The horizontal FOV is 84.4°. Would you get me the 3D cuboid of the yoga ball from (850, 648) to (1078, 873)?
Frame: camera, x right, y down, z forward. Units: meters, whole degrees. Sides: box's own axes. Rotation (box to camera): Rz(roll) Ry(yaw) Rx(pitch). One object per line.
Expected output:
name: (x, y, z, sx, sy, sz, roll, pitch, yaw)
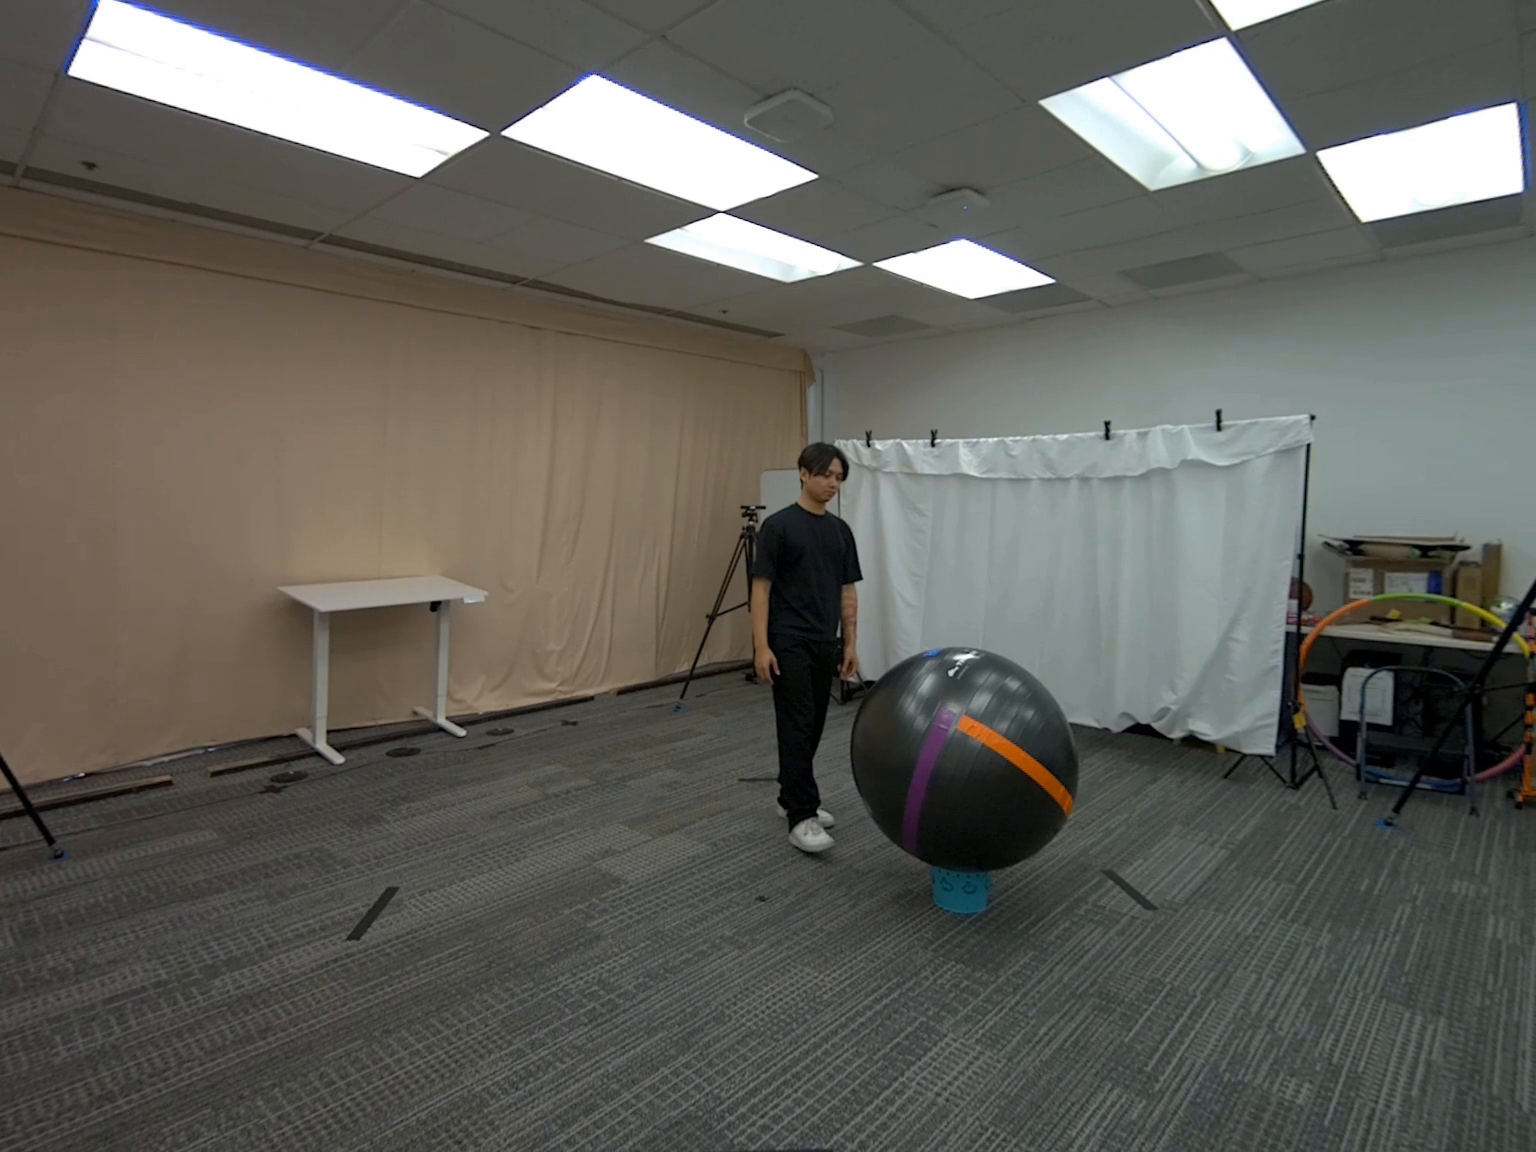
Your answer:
yoga ball: (0.674, 0.633, 2.933, 0.757, 0.756, 0.760, 0, 4, -2)
